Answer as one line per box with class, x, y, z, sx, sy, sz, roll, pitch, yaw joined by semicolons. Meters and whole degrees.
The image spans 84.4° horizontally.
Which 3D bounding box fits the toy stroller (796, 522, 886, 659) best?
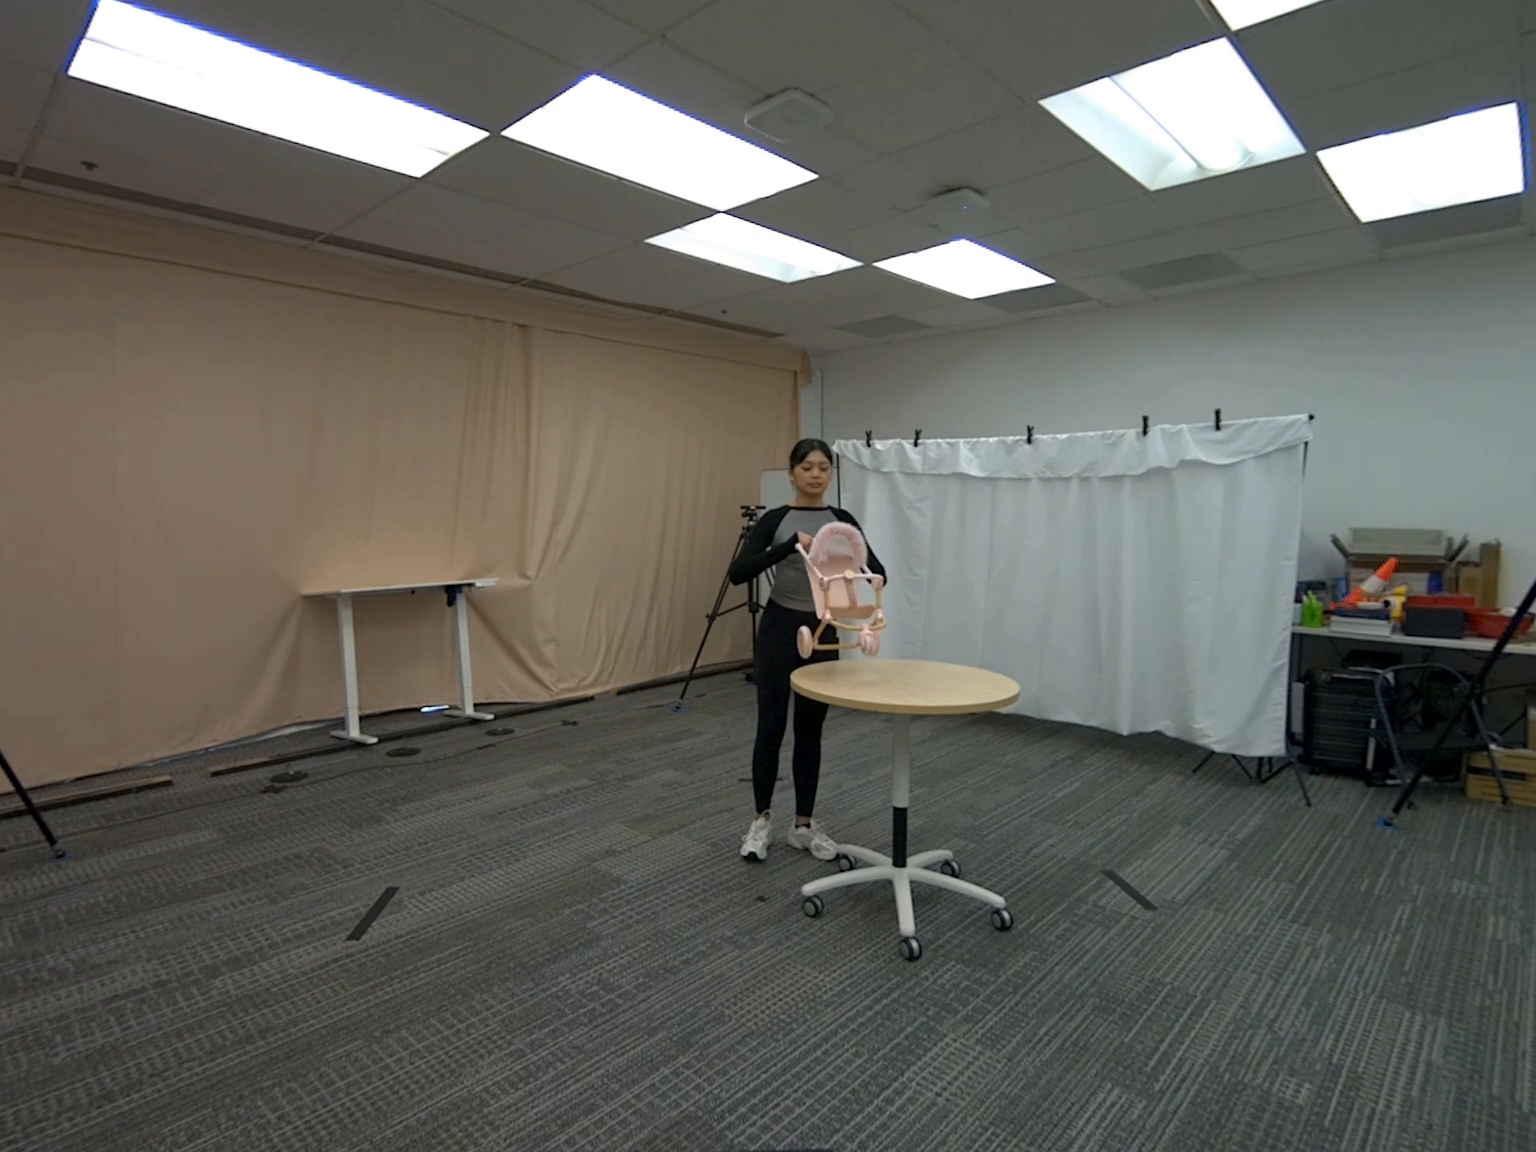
toy stroller;0.252;0.052;2.898;0.278;0.543;0.340;-1;-21;-11
